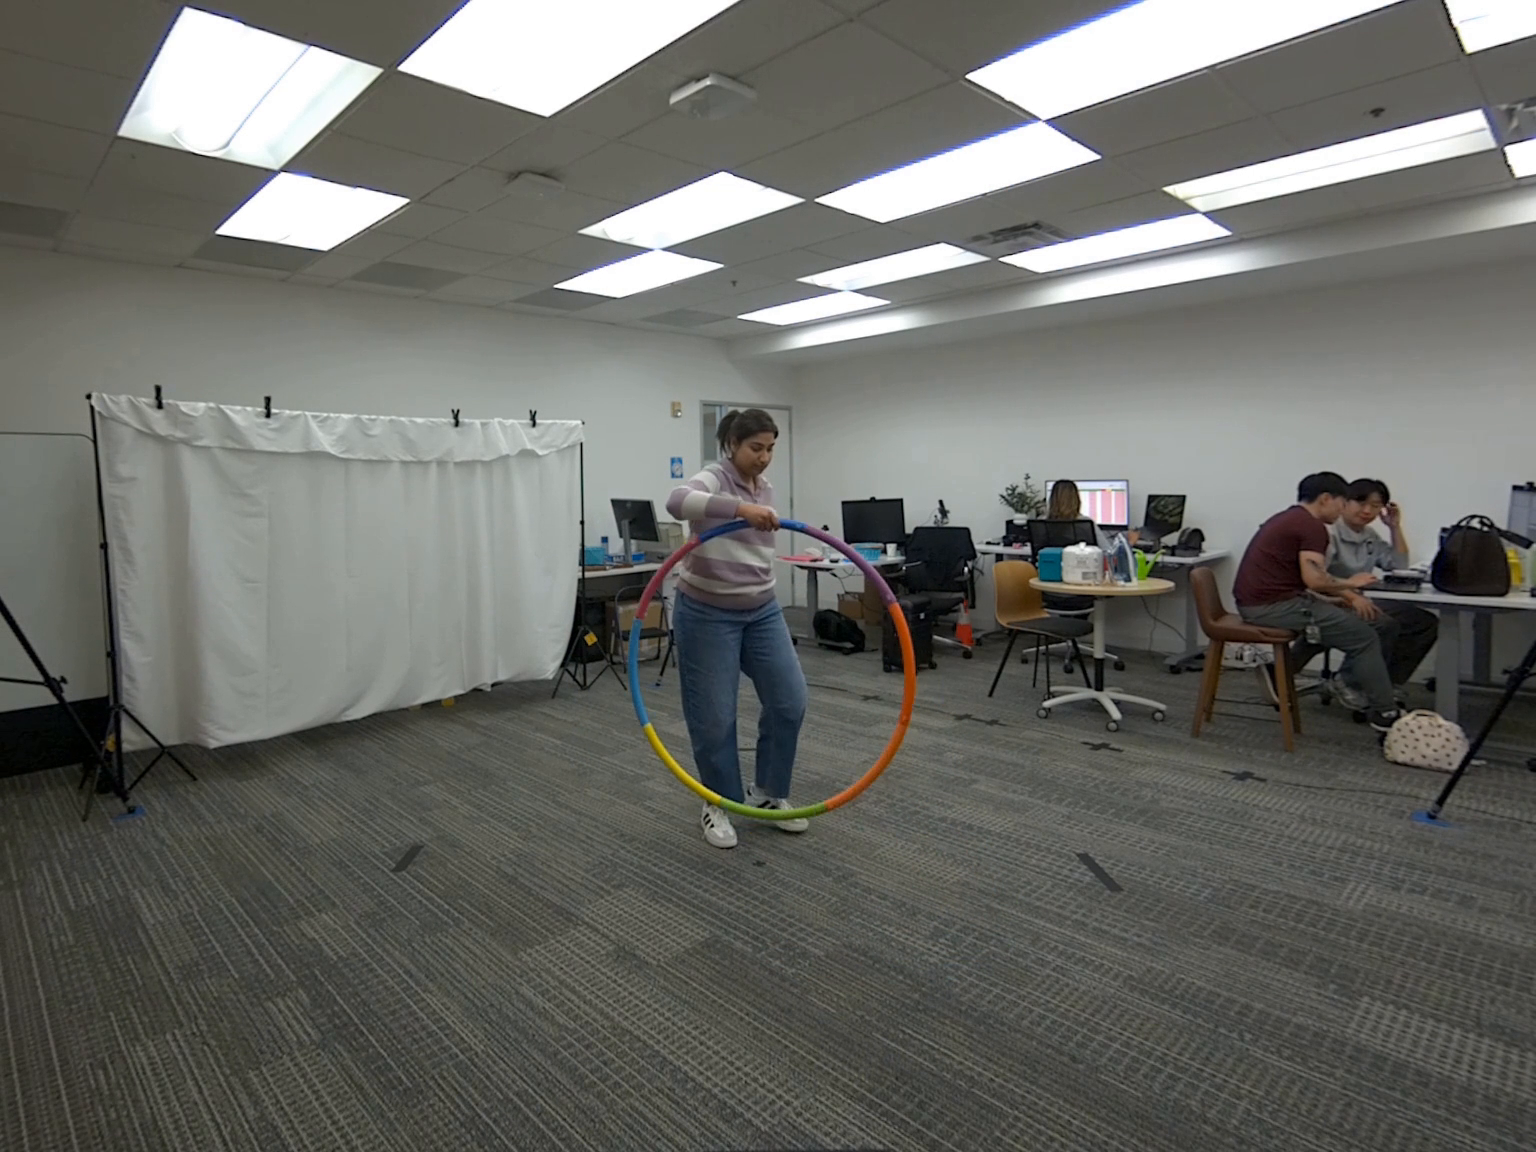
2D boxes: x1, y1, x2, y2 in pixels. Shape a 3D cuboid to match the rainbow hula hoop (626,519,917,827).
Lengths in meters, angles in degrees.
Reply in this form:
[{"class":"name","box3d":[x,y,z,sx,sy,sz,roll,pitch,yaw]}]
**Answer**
[{"class":"rainbow hula hoop","box3d":[-0.012,0.304,2.792,1.005,0.986,0.050,1,-1,22]}]
